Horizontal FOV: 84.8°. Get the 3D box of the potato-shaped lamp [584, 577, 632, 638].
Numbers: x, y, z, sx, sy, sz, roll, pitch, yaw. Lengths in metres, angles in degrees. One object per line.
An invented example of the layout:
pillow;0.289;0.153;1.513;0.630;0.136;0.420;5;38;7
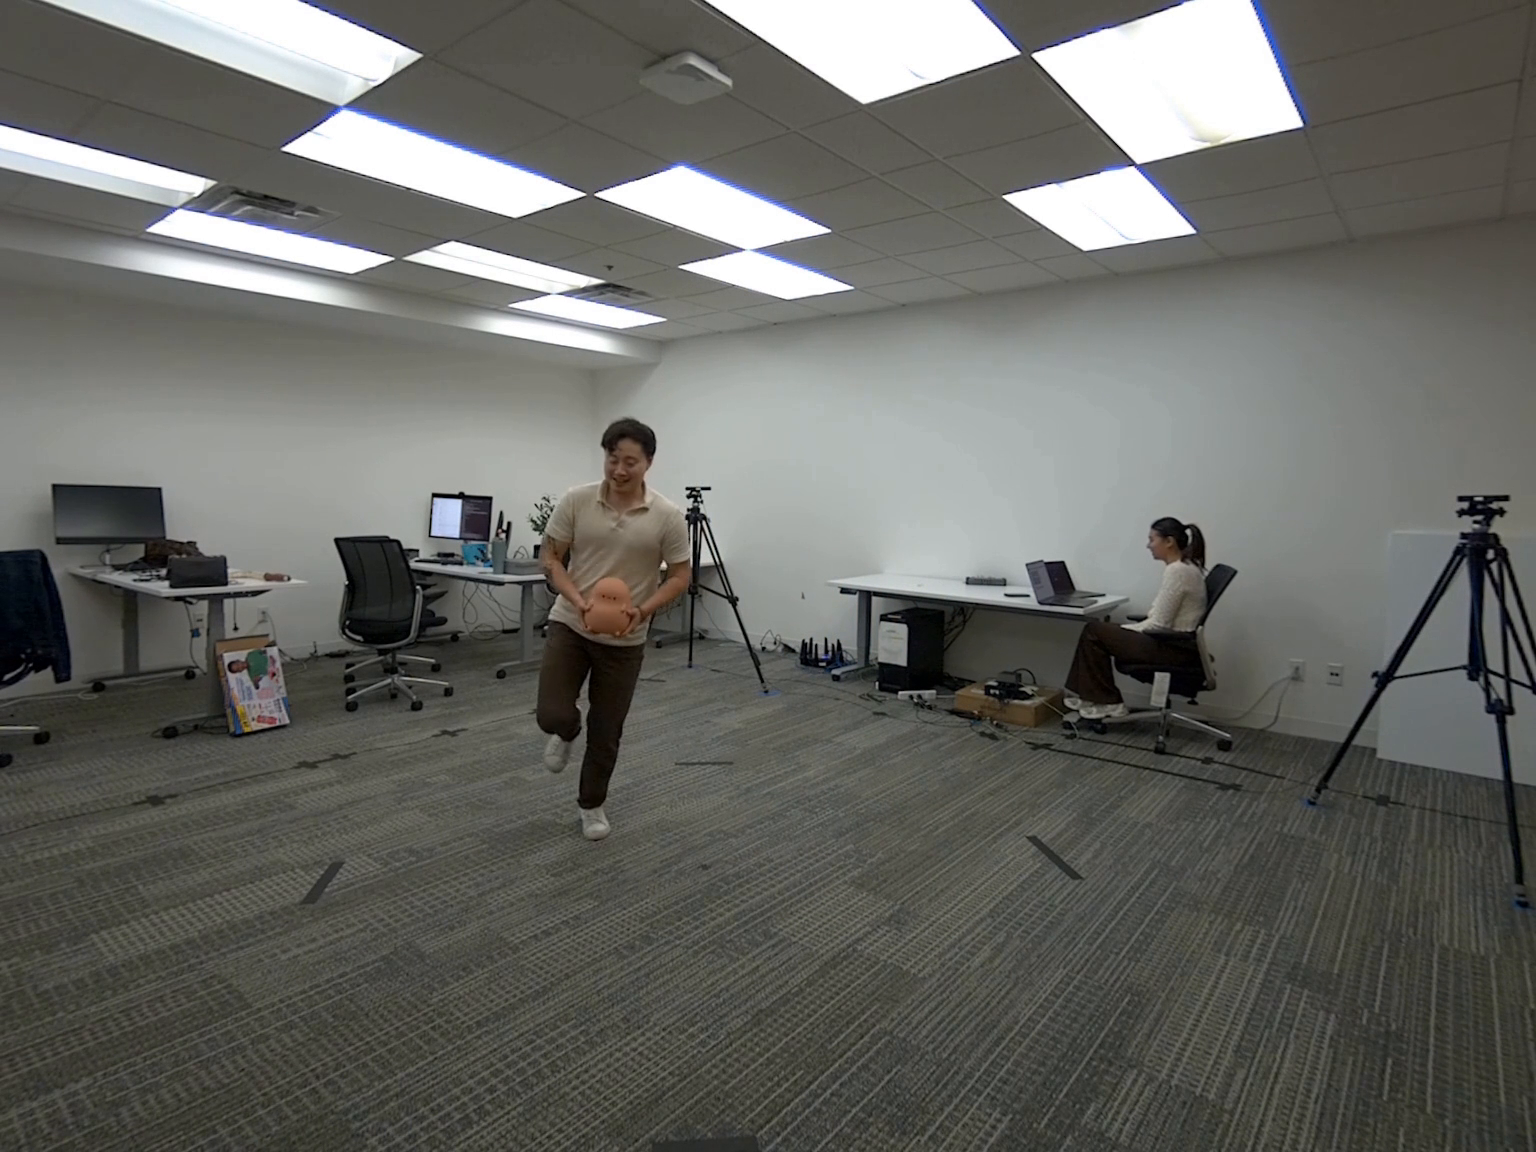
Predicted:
potato-shaped lamp;-0.589;0.070;3.084;0.165;0.196;0.172;7;13;3
